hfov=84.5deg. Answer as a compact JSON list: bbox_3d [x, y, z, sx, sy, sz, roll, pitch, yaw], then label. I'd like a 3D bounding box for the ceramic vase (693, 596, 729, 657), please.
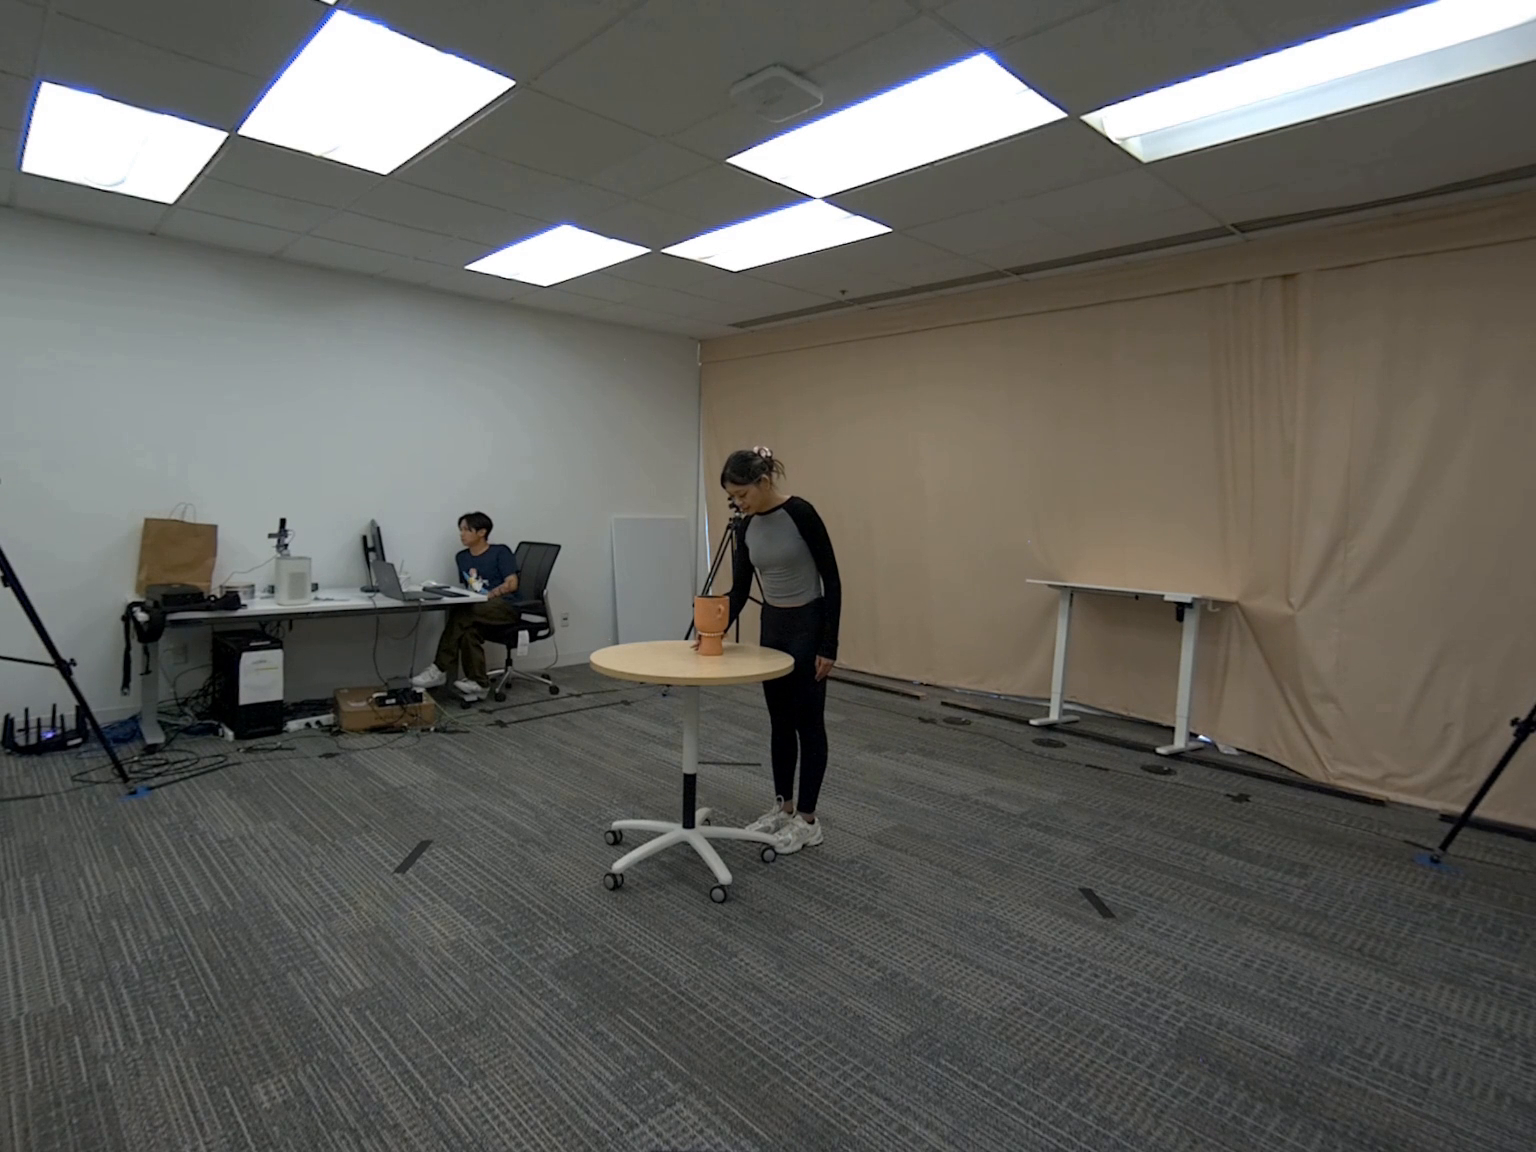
[{"bbox_3d":[-0.227,0.190,3.246,0.136,0.219,0.158,2,4,11],"label":"ceramic vase"}]
